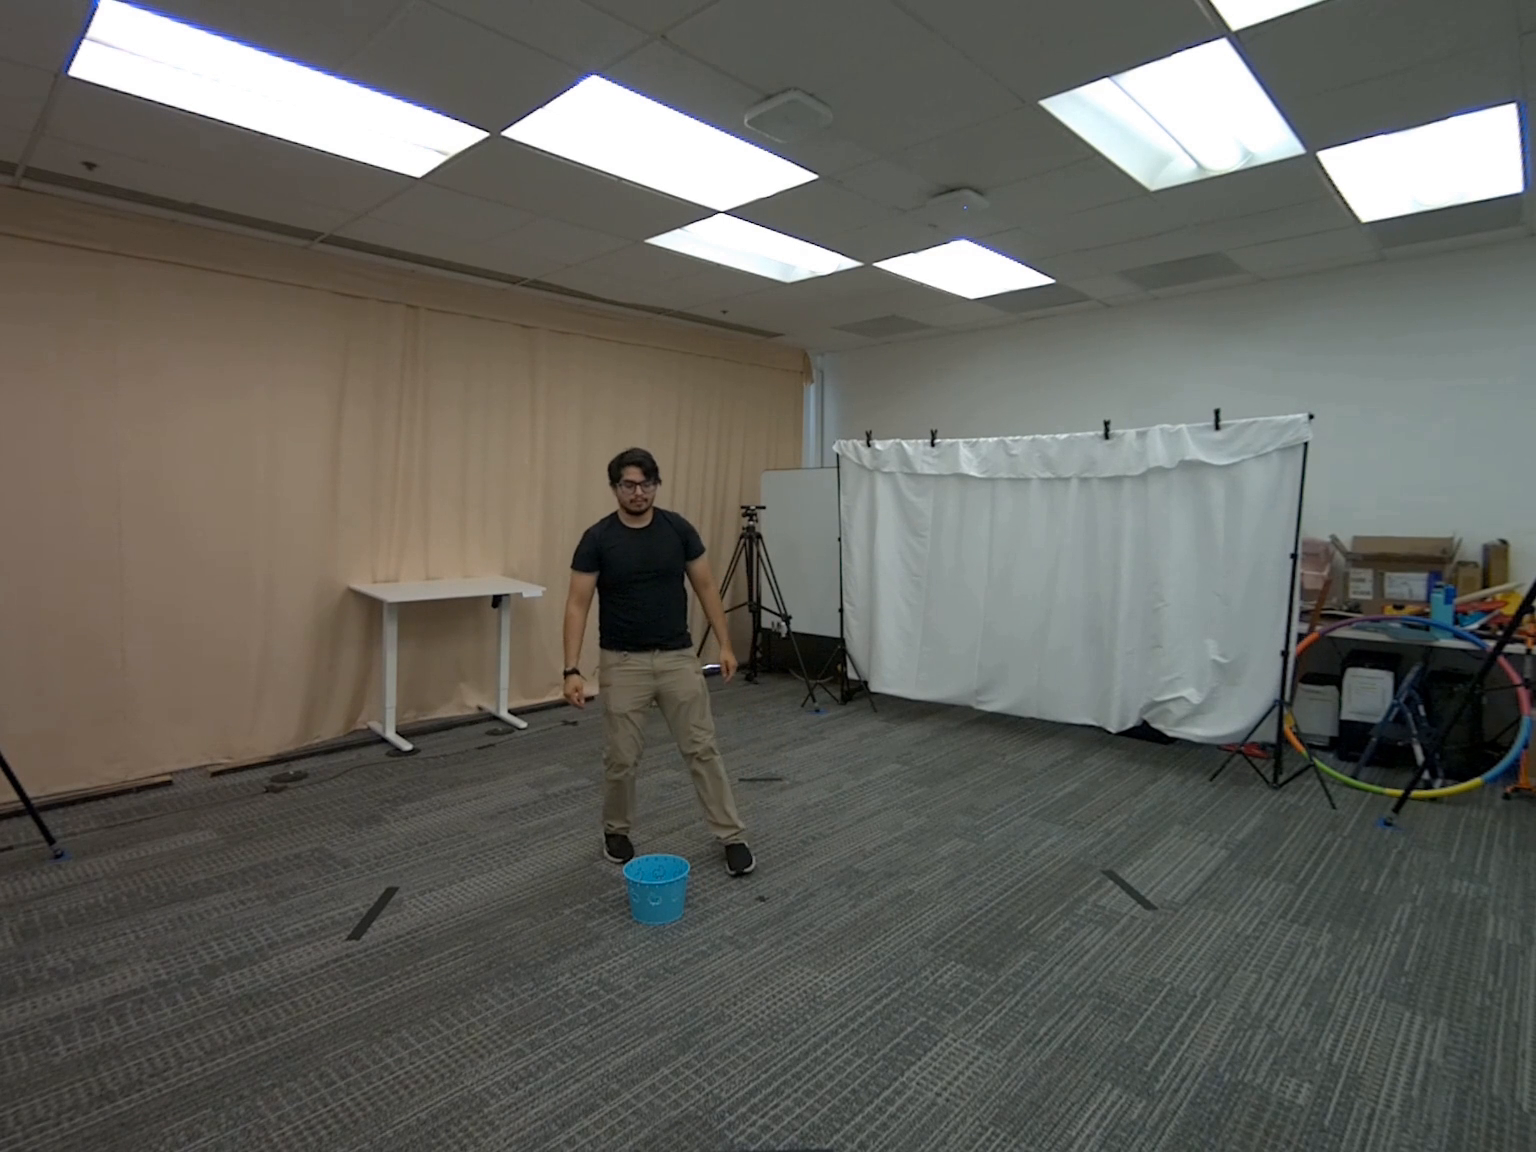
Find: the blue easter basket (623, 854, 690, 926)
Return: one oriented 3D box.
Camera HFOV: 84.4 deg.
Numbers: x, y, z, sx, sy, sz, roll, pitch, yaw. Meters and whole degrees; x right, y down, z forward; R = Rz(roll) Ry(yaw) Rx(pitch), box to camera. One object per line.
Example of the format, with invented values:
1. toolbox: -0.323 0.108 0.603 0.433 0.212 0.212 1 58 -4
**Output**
1. blue easter basket: -0.381 1.077 2.891 0.243 0.155 0.244 -1 4 -2
